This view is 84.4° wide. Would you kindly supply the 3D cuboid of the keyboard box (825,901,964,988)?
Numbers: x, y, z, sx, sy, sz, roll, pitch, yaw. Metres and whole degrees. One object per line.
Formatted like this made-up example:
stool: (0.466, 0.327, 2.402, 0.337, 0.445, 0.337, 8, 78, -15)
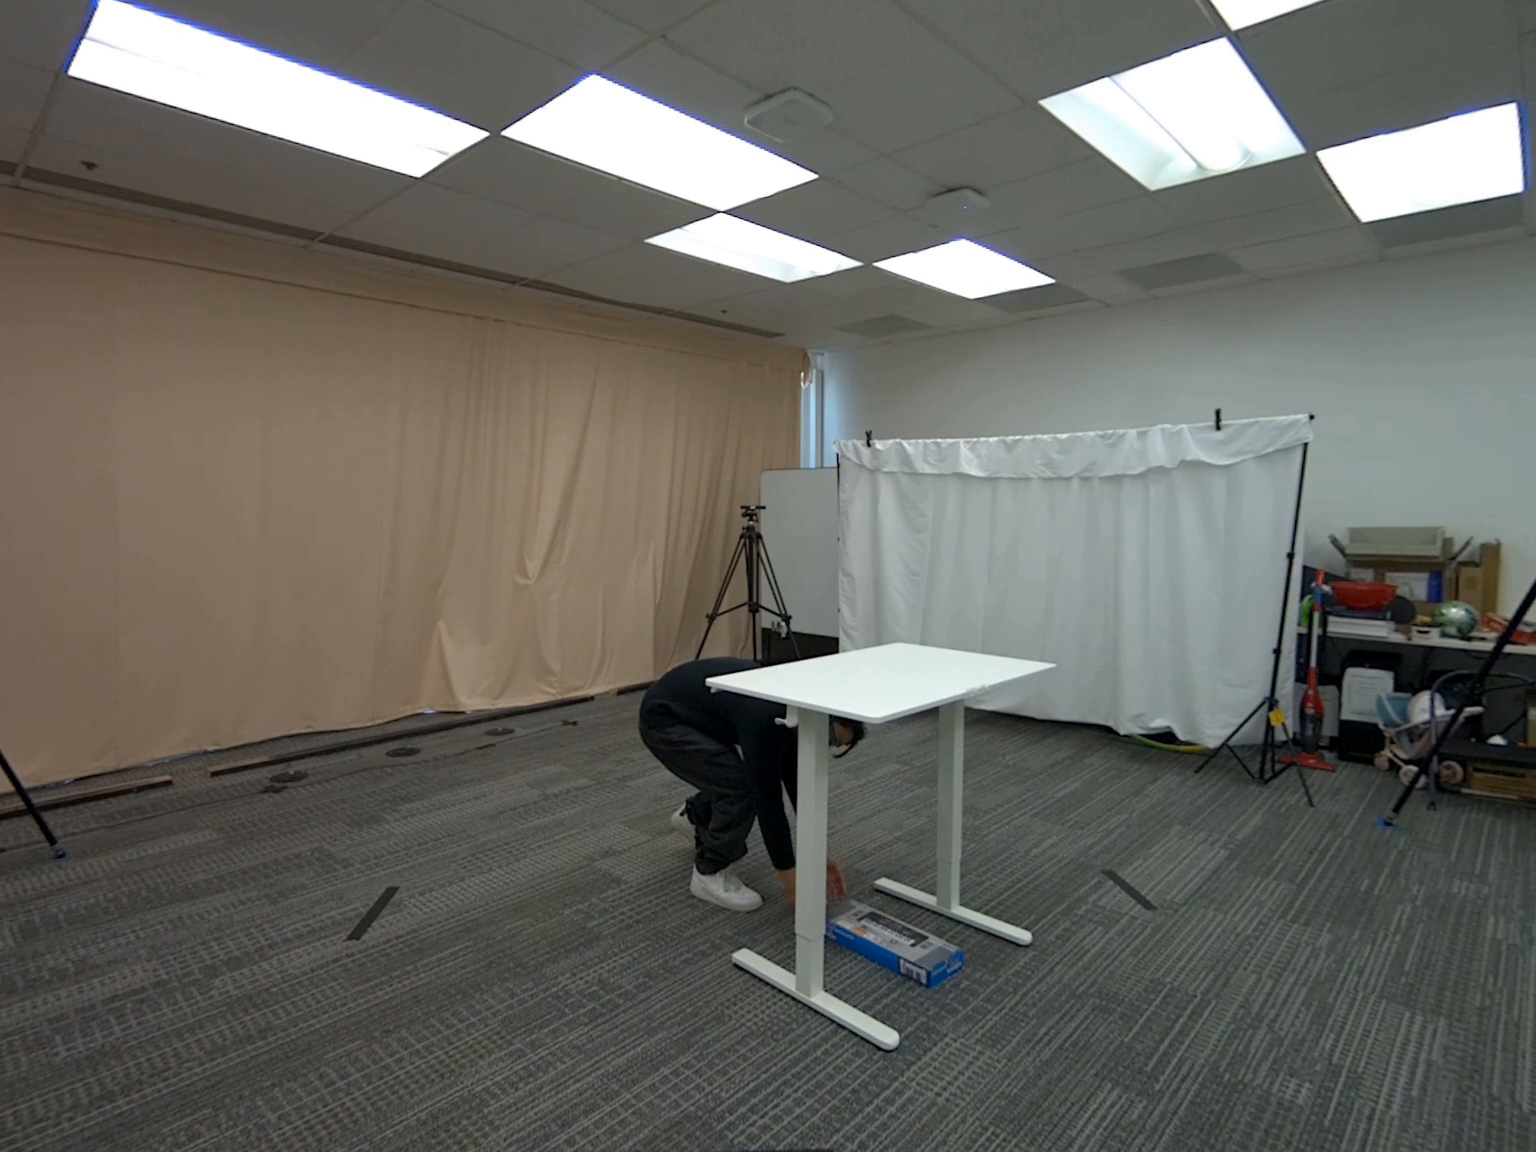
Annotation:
keyboard box: (0.378, 1.143, 2.637, 0.171, 0.059, 0.451, -5, 7, -42)
